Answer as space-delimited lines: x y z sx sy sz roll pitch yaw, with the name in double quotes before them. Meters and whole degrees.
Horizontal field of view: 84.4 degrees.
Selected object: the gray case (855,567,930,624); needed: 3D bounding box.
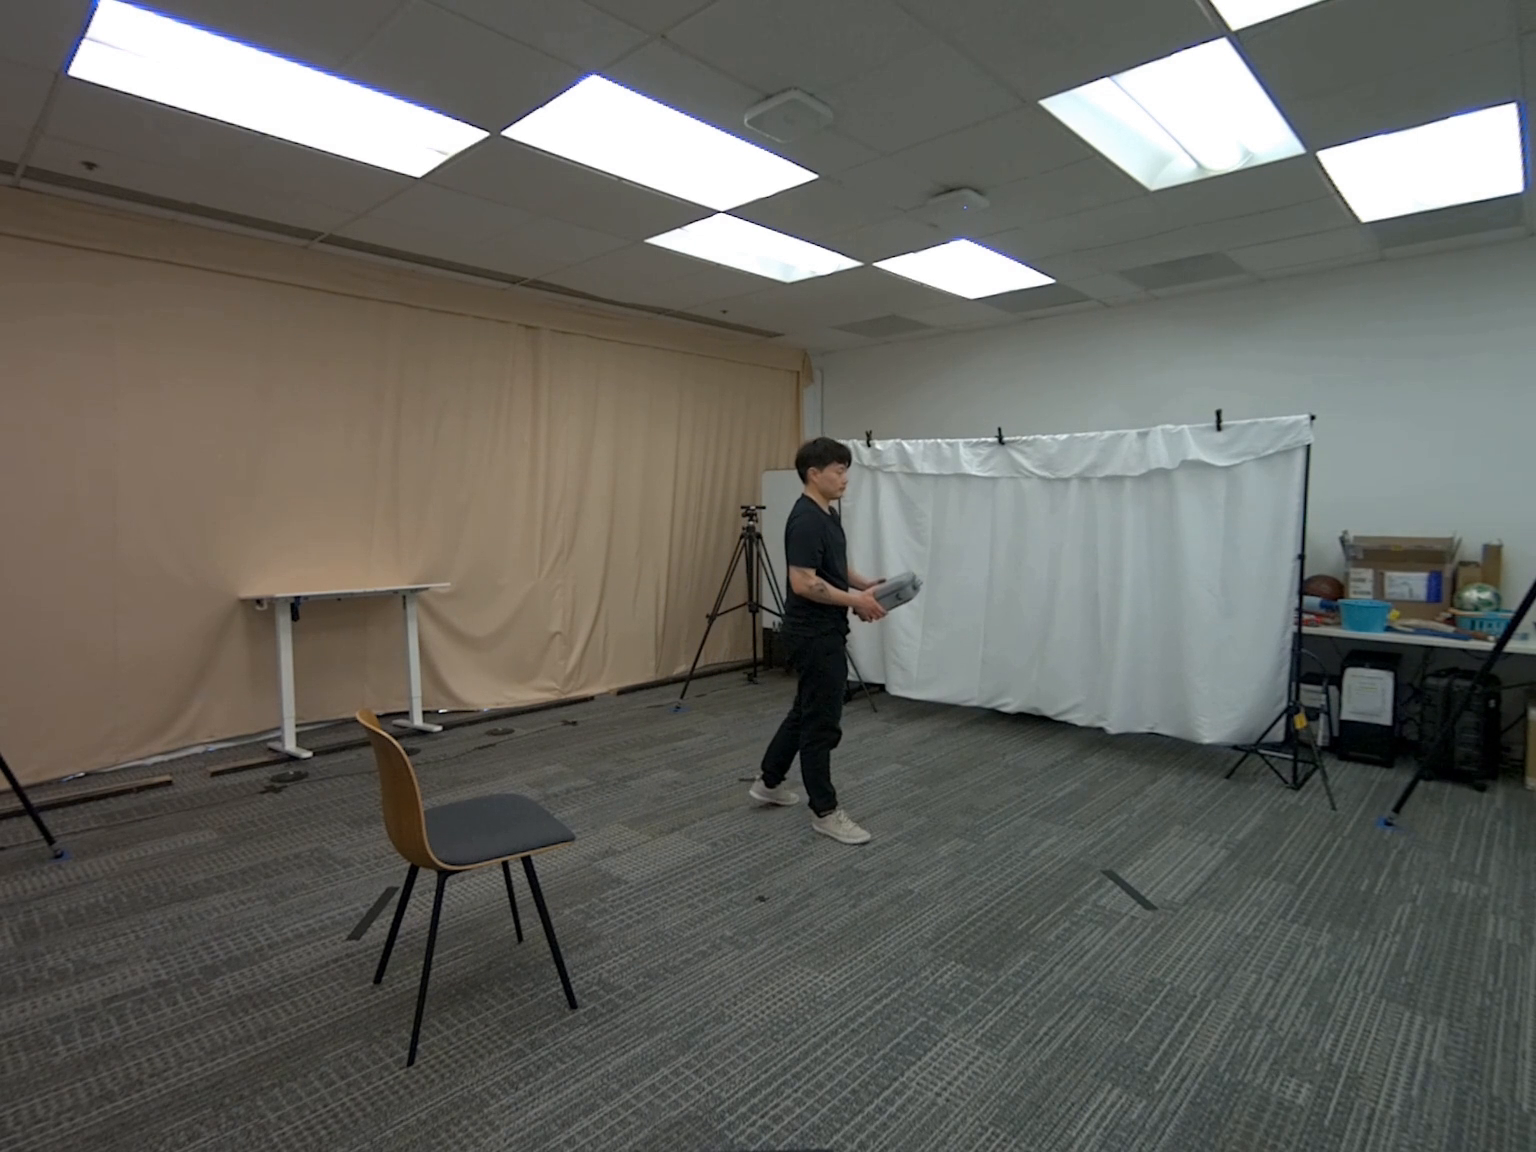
"gray case" 0.507 0.076 3.540 0.265 0.104 0.252 -25 -2 24
